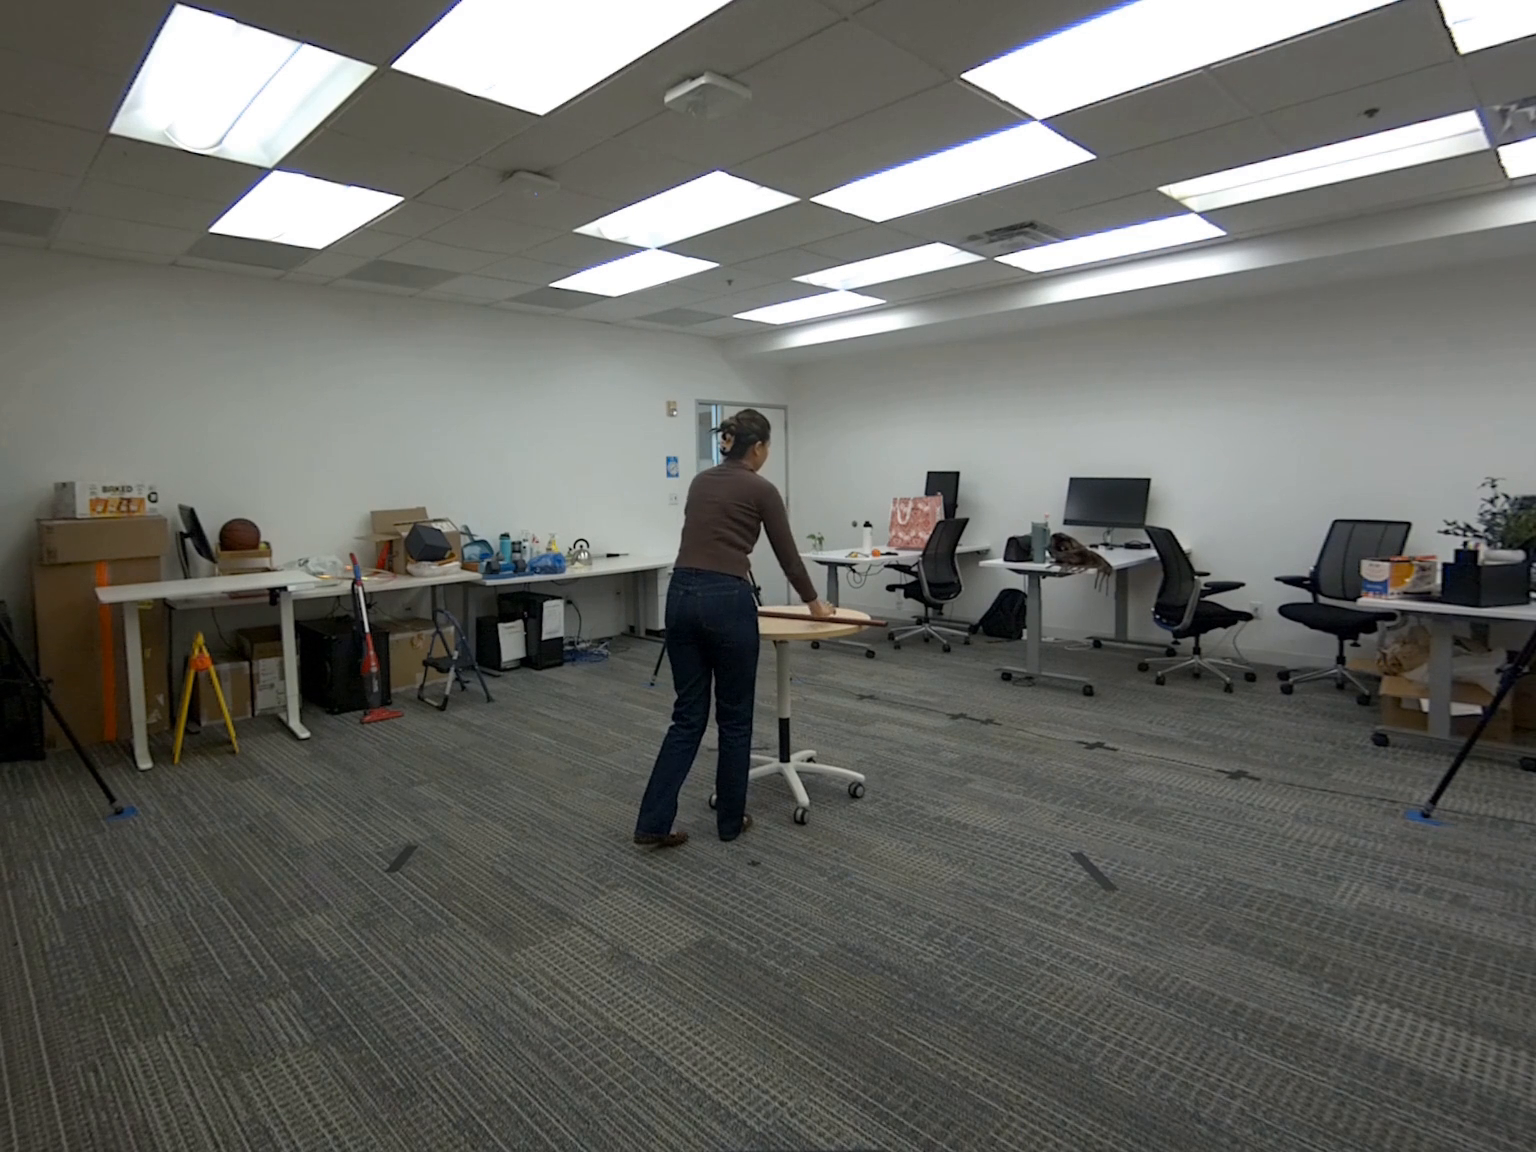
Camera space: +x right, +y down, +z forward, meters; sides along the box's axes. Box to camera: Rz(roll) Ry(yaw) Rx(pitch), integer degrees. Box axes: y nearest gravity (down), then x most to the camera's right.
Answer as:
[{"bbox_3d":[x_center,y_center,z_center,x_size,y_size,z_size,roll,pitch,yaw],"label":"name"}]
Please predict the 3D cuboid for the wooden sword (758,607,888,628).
[{"bbox_3d":[0.101,0.173,3.746,1.055,0.051,0.023,4,-7,37],"label":"wooden sword"}]
